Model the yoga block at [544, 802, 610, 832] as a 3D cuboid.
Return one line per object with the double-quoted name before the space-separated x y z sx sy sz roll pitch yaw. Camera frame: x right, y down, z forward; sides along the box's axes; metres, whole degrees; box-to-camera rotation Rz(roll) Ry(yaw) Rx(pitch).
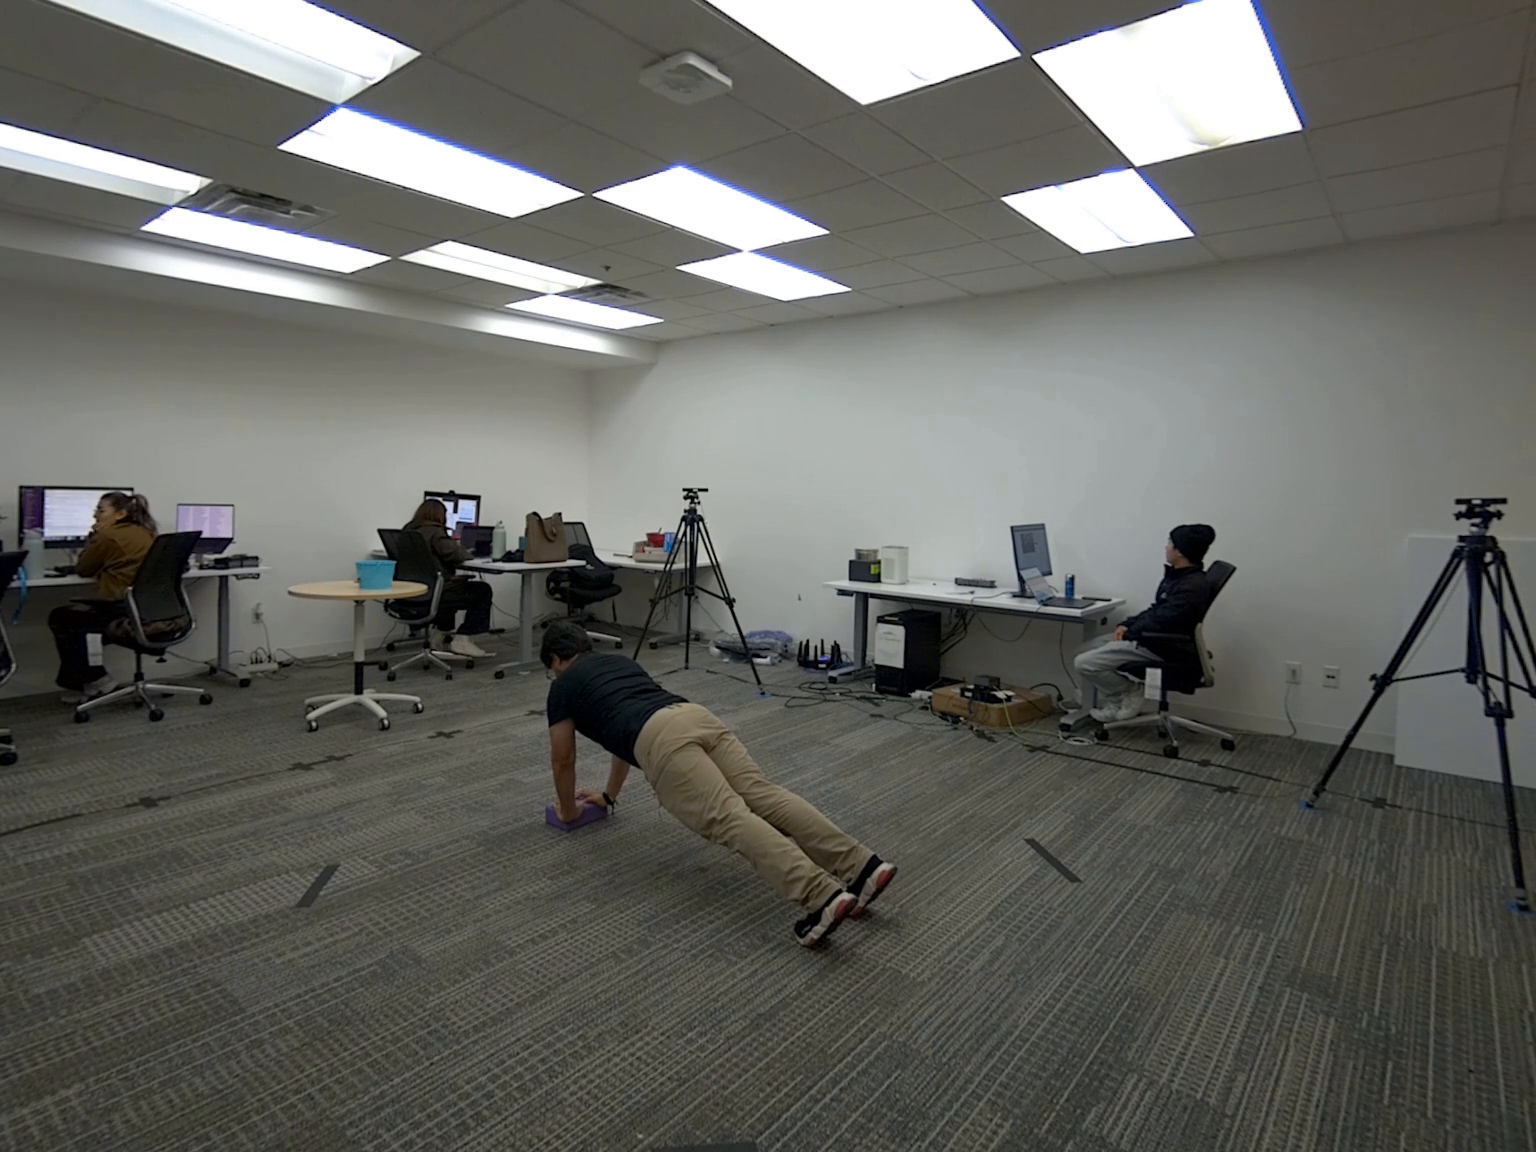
"yoga block" -0.814 0.981 3.564 0.154 0.076 0.223 4 6 37
